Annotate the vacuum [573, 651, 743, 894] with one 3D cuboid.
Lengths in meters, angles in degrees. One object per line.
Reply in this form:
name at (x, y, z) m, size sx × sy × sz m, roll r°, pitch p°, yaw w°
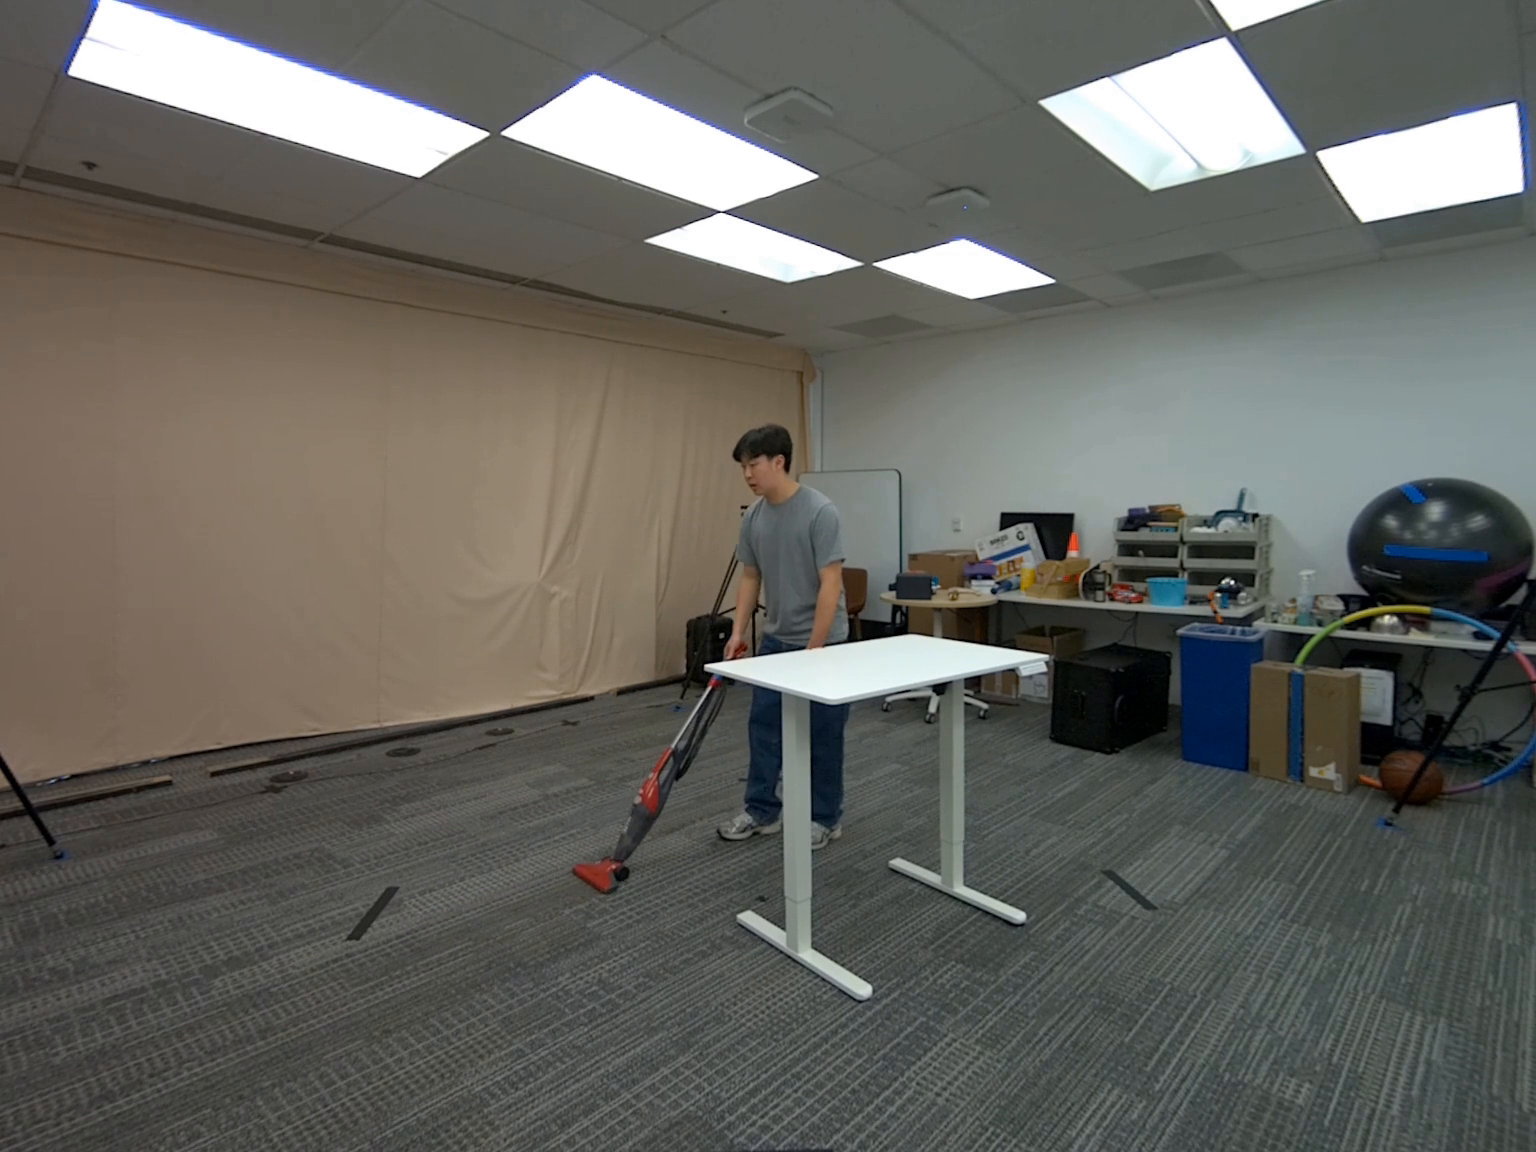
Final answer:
vacuum at (-0.361, 0.722, 3.347) m, size 0.261 × 1.047 × 0.139 m, roll 7°, pitch -34°, yaw 48°
